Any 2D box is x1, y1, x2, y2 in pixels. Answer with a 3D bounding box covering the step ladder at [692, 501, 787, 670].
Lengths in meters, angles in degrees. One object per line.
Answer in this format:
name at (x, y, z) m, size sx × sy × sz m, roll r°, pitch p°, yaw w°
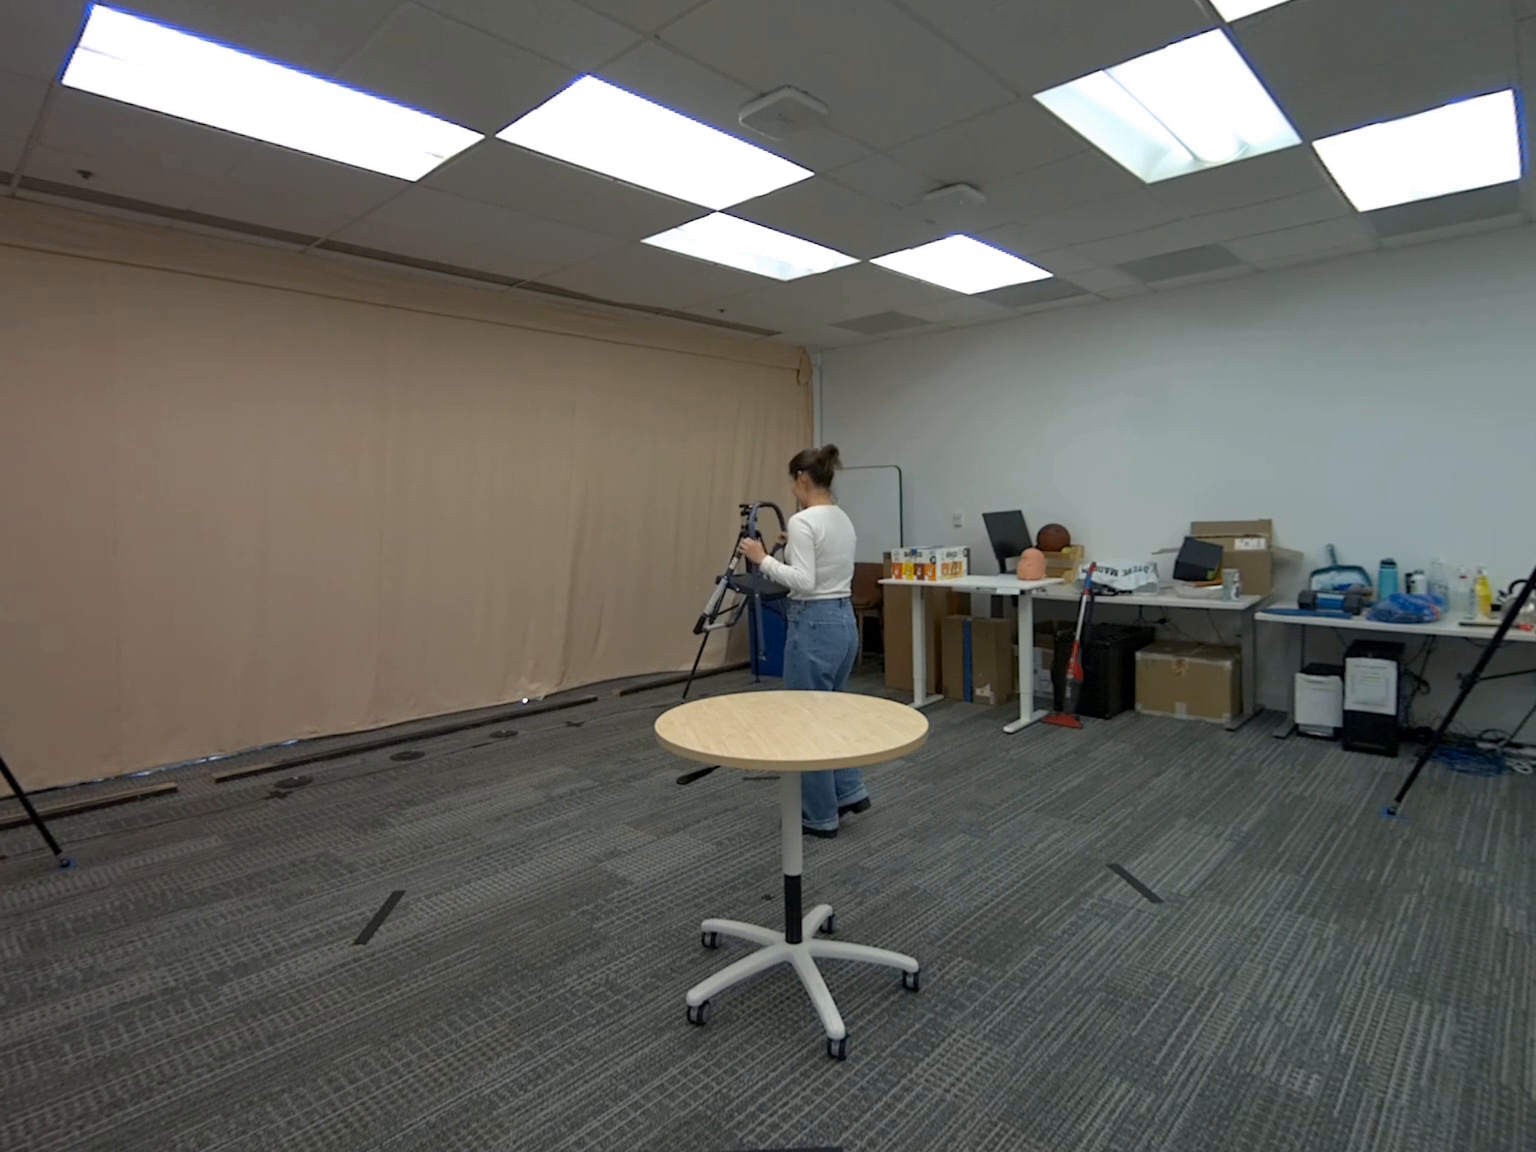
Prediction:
step ladder at (-0.012, -0.004, 3.627) m, size 0.358 × 0.604 × 0.421 m, roll 16°, pitch 7°, yaw 21°
